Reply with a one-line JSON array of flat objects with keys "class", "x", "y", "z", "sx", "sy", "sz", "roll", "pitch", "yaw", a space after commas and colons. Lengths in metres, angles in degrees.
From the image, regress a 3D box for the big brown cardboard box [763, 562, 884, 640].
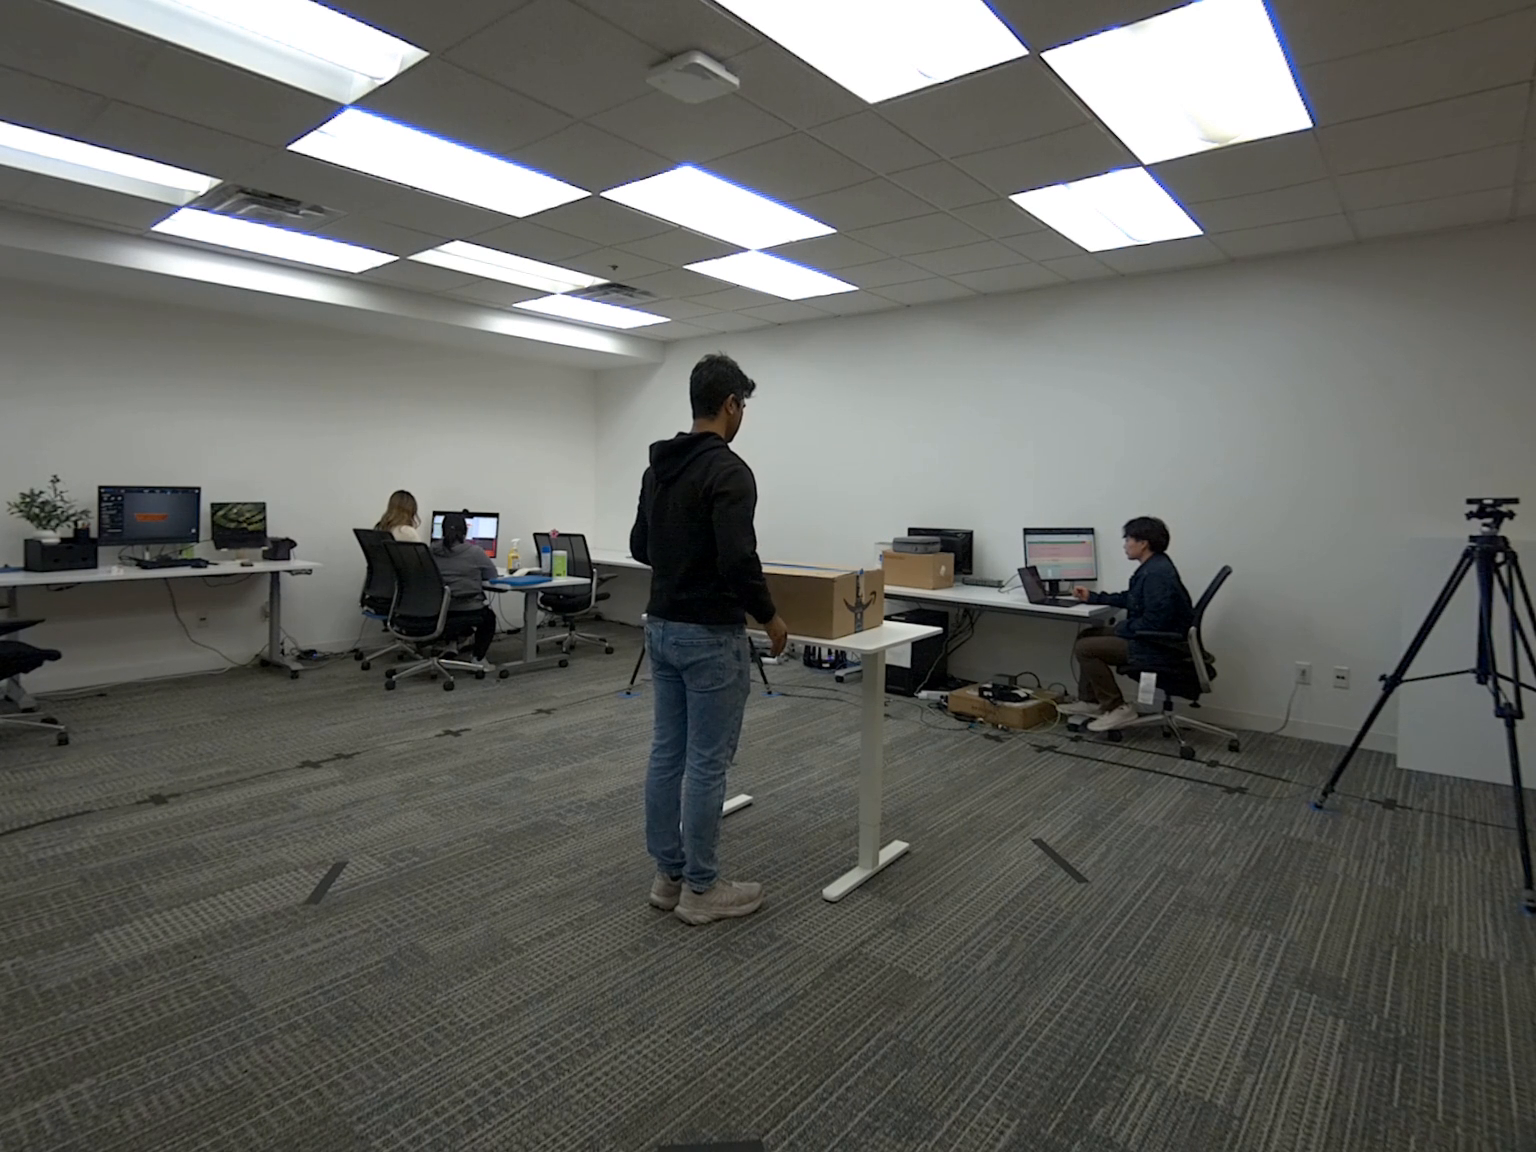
[{"class": "big brown cardboard box", "x": 0.079, "y": 0.069, "z": 3.219, "sx": 0.608, "sy": 0.232, "sz": 0.406, "roll": 6, "pitch": 7, "yaw": 33}]
